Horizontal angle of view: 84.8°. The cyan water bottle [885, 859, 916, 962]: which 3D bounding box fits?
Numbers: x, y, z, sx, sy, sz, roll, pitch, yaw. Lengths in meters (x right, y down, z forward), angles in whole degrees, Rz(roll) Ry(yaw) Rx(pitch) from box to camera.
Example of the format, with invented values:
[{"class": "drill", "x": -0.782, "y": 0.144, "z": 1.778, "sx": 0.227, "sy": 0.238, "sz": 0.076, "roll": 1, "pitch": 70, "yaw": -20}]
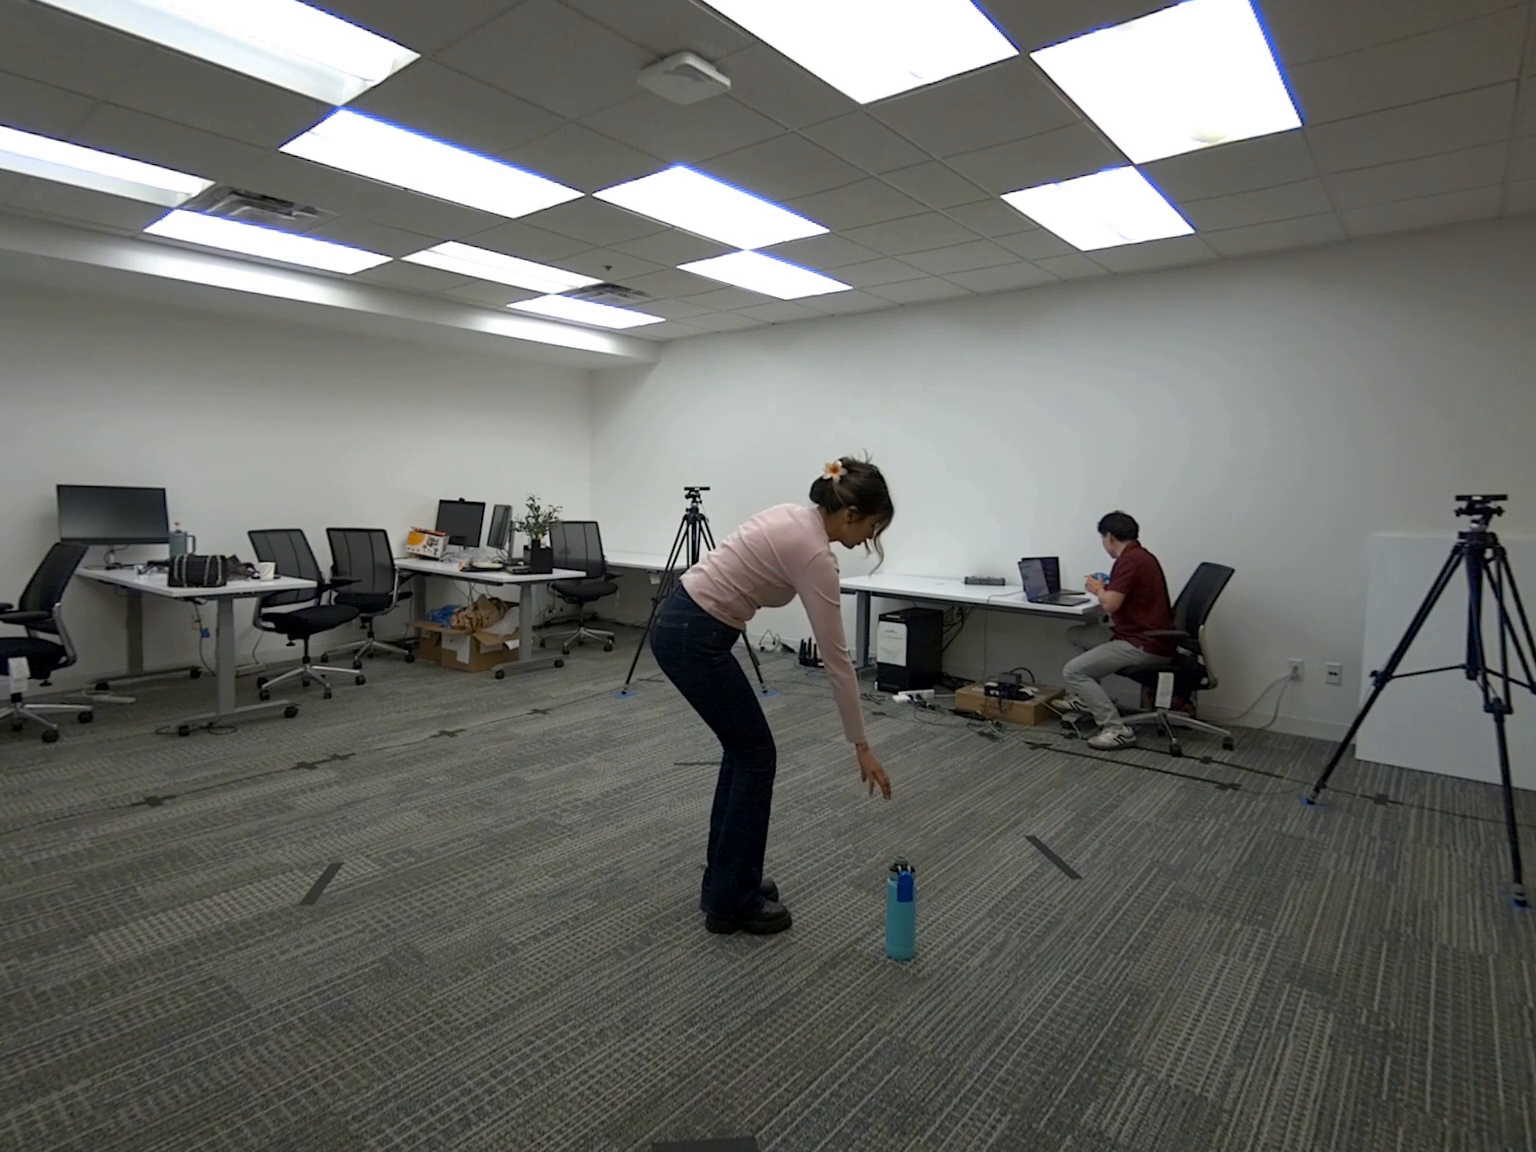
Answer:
[{"class": "cyan water bottle", "x": 0.401, "y": 0.995, "z": 2.557, "sx": 0.092, "sy": 0.282, "sz": 0.093, "roll": 3, "pitch": 3, "yaw": -2}]
